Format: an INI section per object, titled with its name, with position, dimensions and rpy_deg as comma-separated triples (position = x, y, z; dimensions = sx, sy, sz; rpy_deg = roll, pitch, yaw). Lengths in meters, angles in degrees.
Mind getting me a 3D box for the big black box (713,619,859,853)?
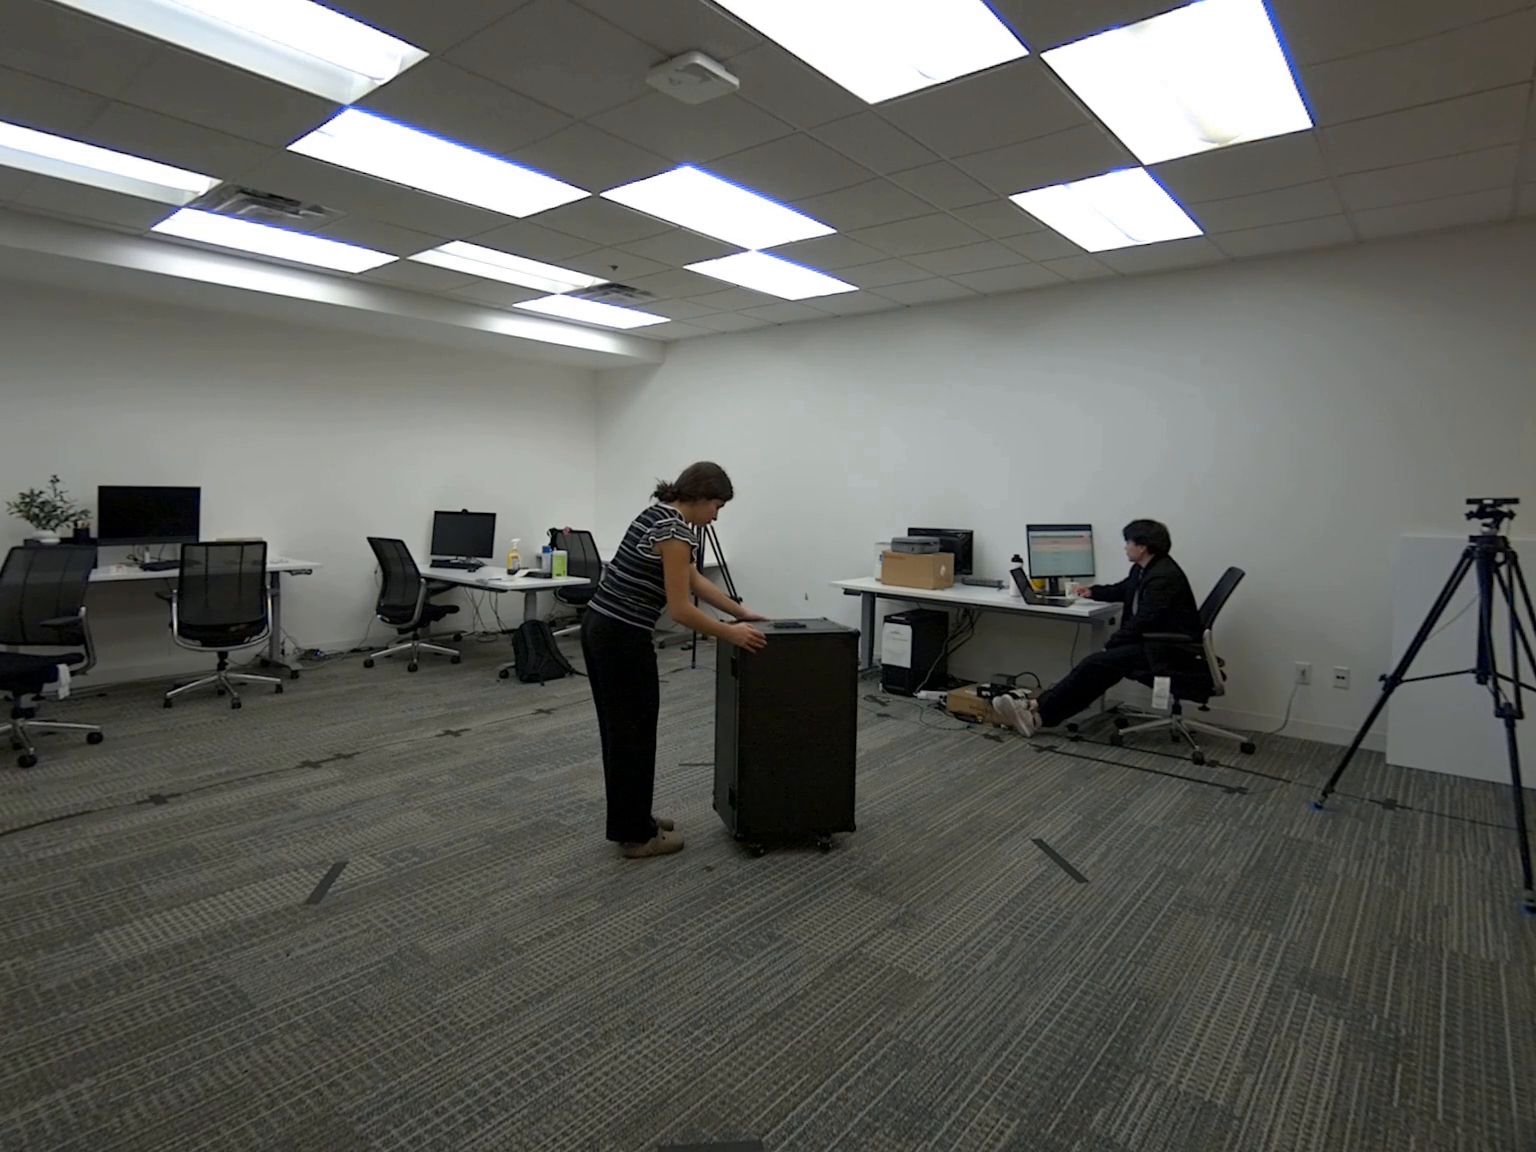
[big black box]
position = 0.046, 0.624, 3.403
dimensions = 0.513, 0.860, 0.403
rpy_deg = 0, 2, -16
